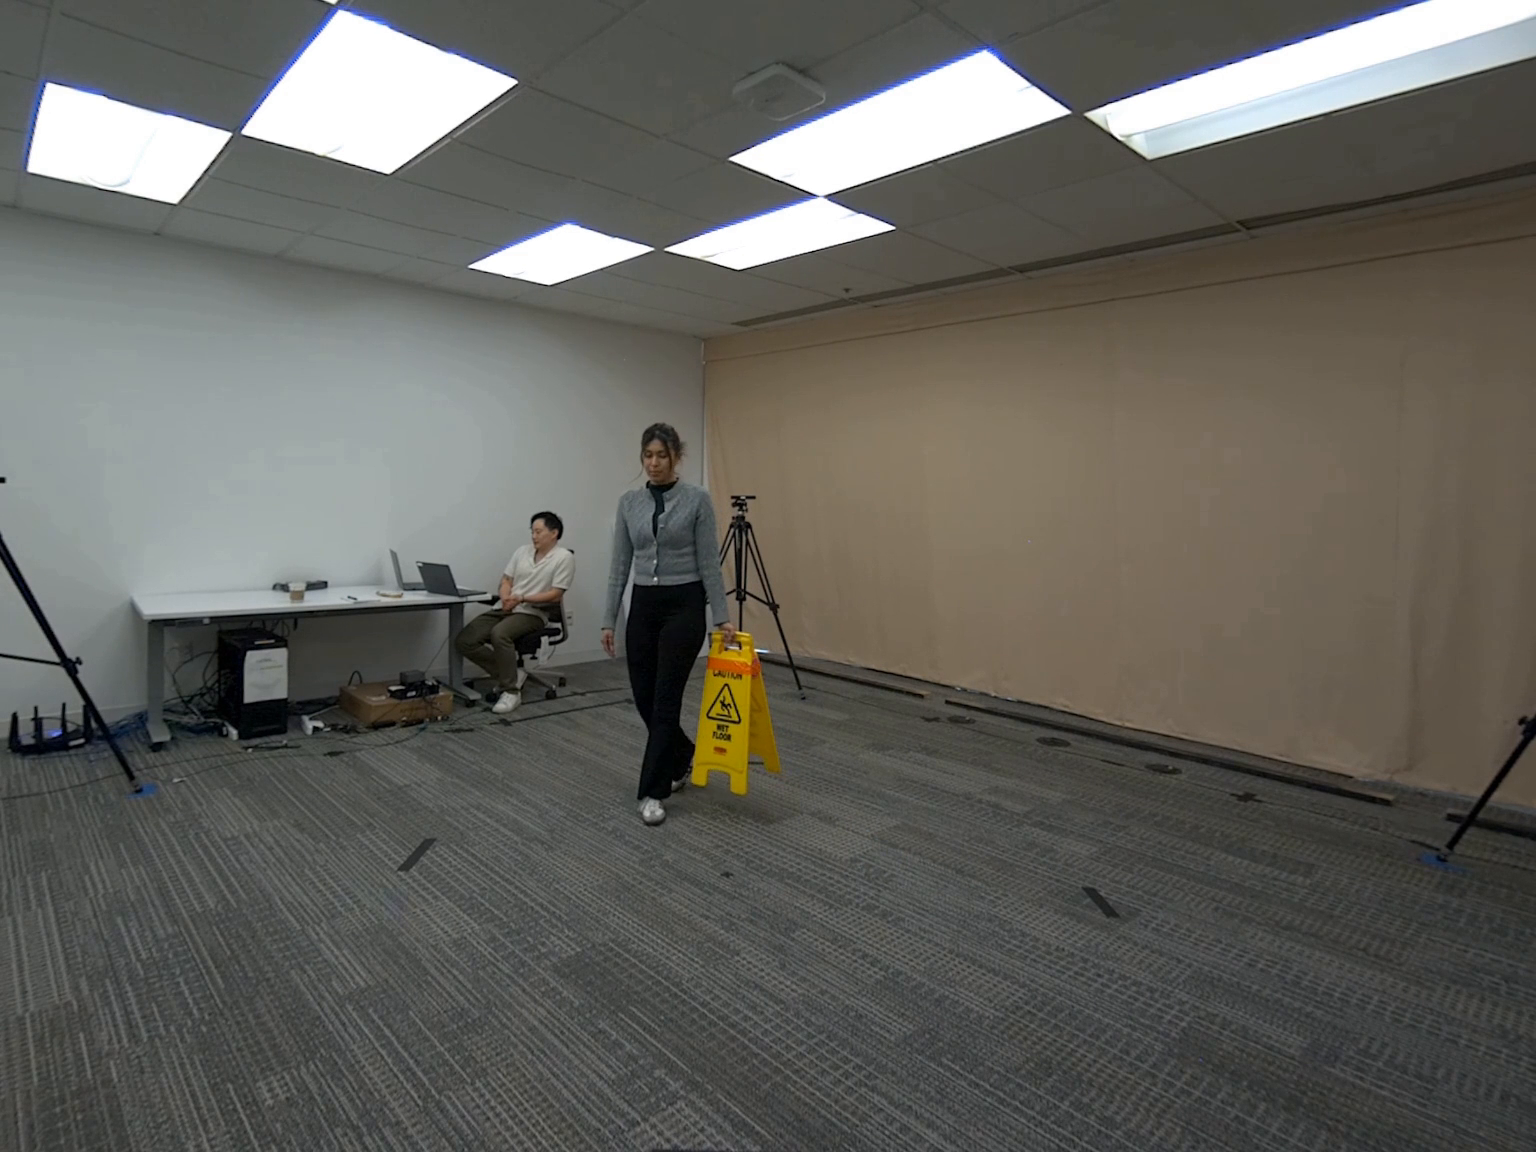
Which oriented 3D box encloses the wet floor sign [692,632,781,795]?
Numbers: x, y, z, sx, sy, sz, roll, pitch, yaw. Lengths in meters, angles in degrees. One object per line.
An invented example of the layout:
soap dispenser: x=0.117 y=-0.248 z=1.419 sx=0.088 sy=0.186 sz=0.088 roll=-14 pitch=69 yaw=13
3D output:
wet floor sign: x=-0.153 y=0.561 z=3.633 sx=0.288 sy=0.643 sz=0.284 roll=1 pitch=6 yaw=33
